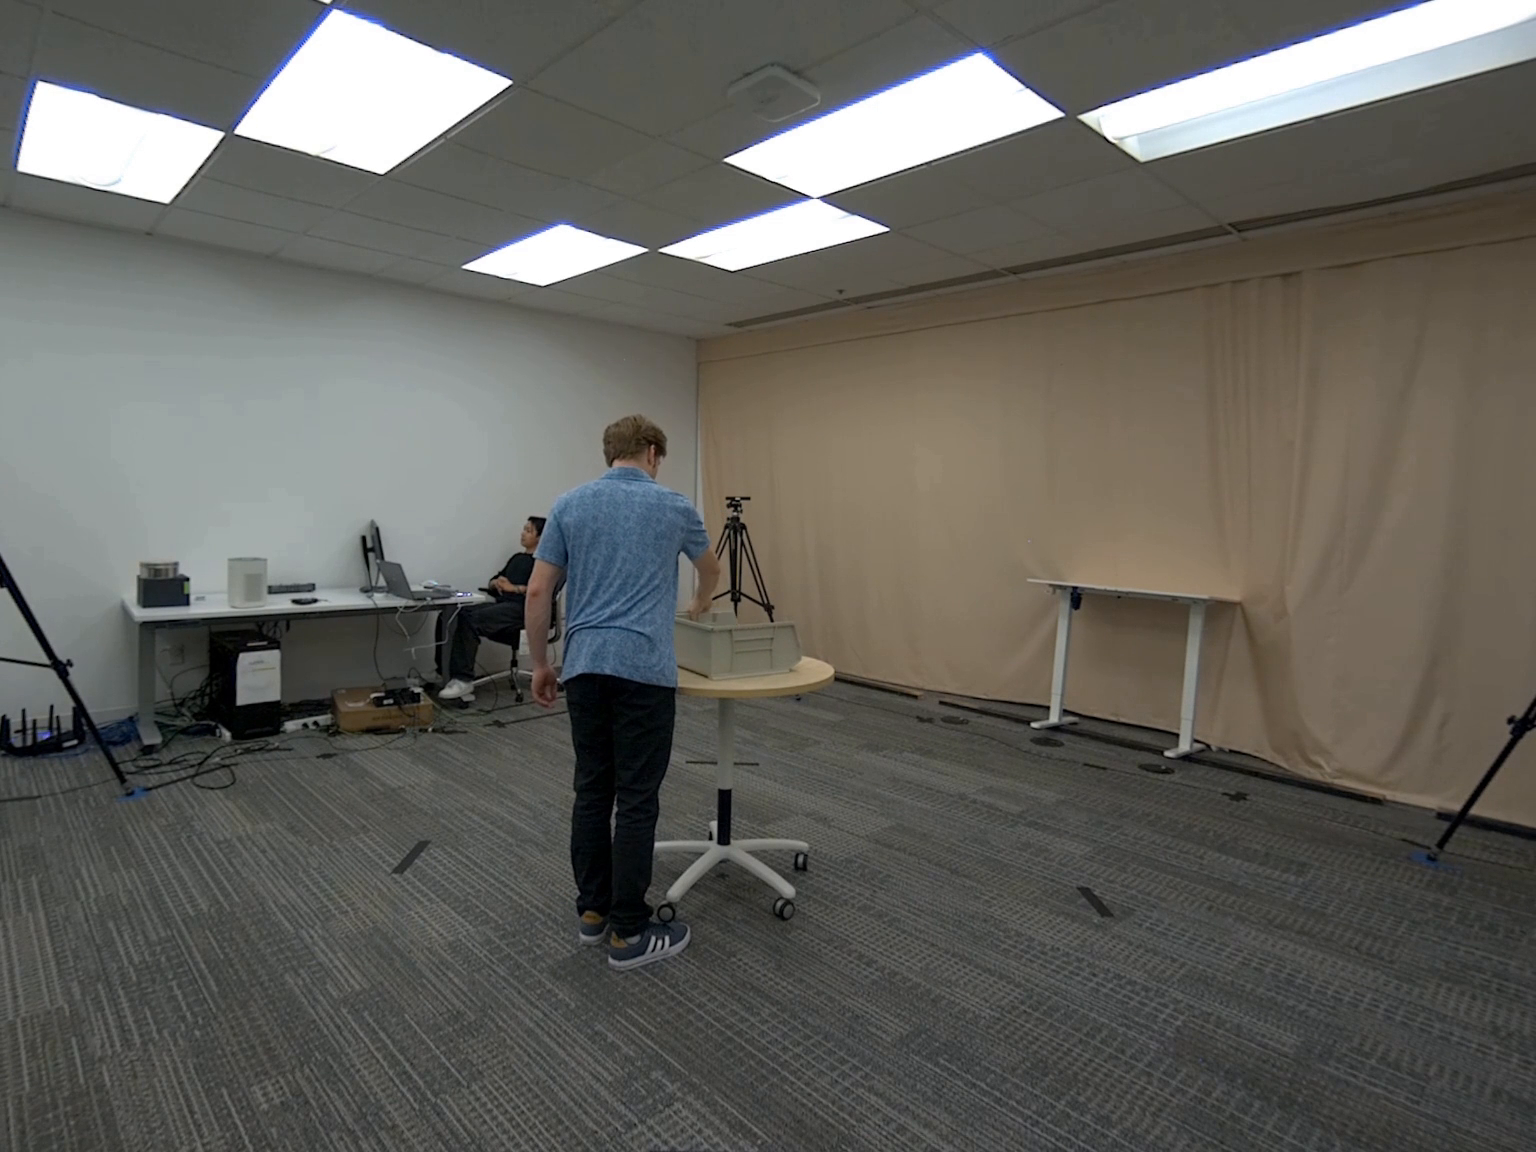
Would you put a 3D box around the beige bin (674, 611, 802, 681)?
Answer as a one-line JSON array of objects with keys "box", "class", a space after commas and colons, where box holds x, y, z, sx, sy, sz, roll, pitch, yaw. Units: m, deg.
[{"box": [-0.161, 0.236, 3.032, 0.370, 0.188, 0.432, -3, 6, -32], "class": "beige bin"}]
